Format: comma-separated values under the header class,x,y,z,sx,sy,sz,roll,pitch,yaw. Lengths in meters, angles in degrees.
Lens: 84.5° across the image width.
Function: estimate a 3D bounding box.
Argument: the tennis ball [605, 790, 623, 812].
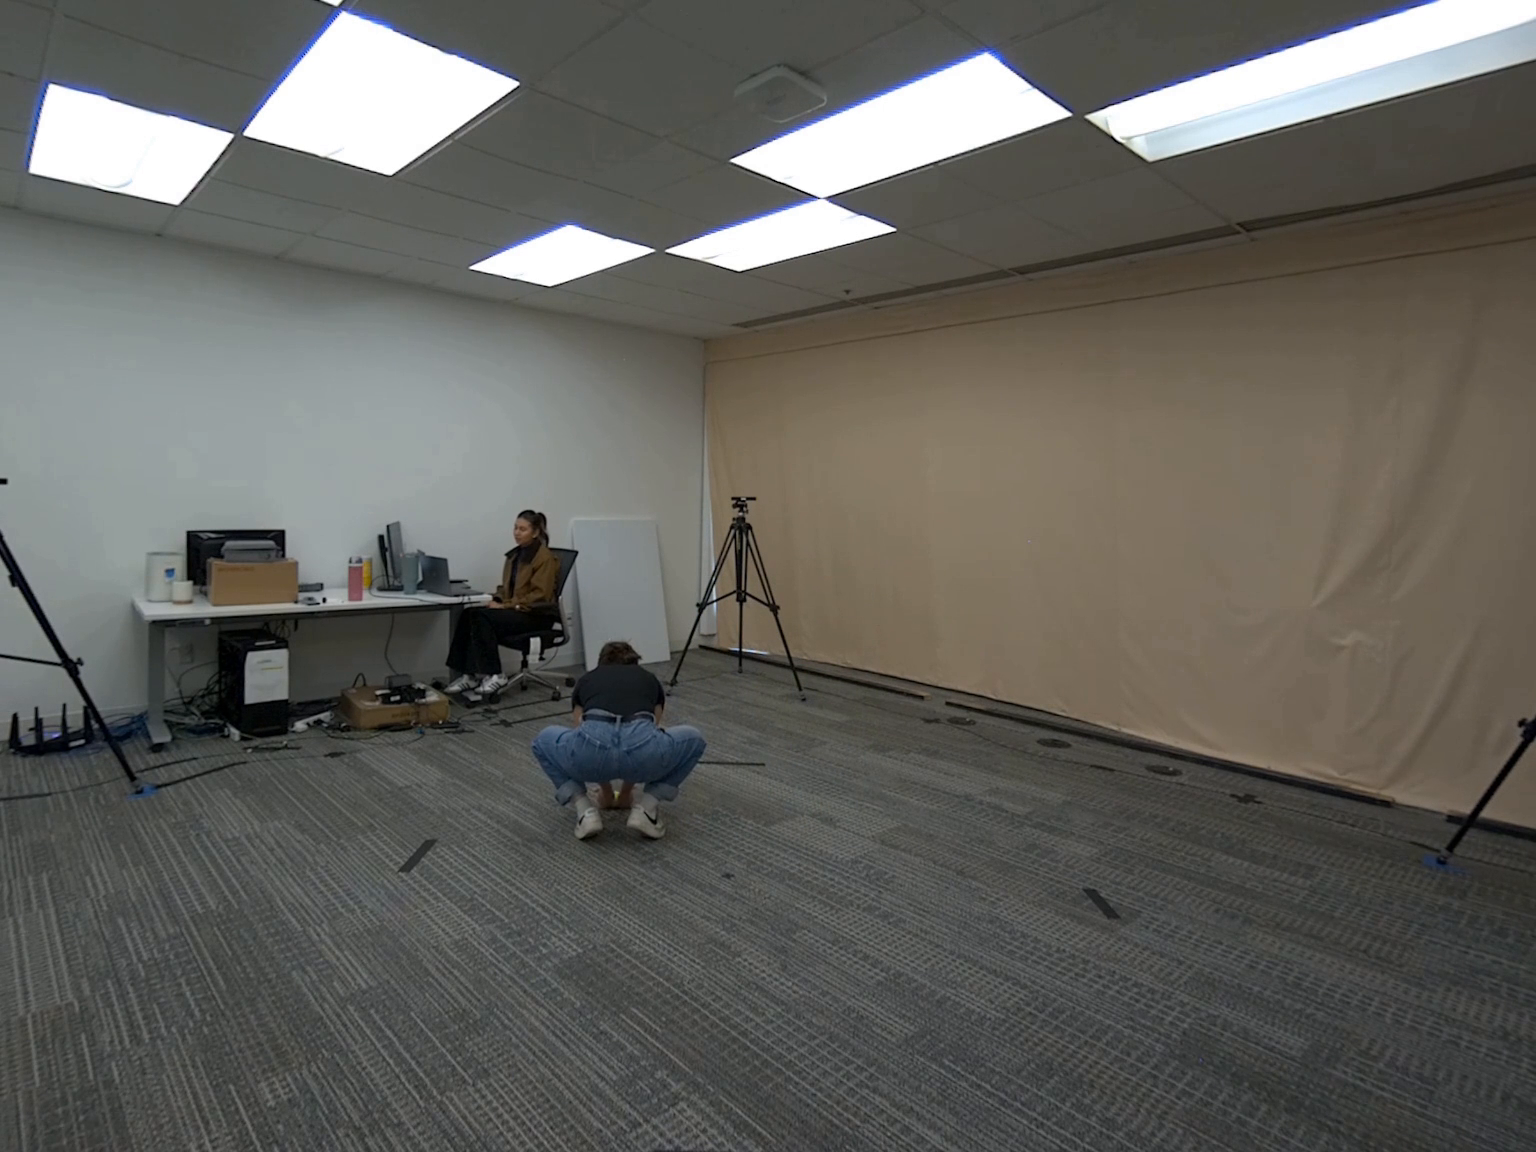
class,x,y,z,sx,sy,sz,roll,pitch,yaw
tennis ball,-0.684,0.994,3.750,0.066,0.066,0.067,1,4,-1
